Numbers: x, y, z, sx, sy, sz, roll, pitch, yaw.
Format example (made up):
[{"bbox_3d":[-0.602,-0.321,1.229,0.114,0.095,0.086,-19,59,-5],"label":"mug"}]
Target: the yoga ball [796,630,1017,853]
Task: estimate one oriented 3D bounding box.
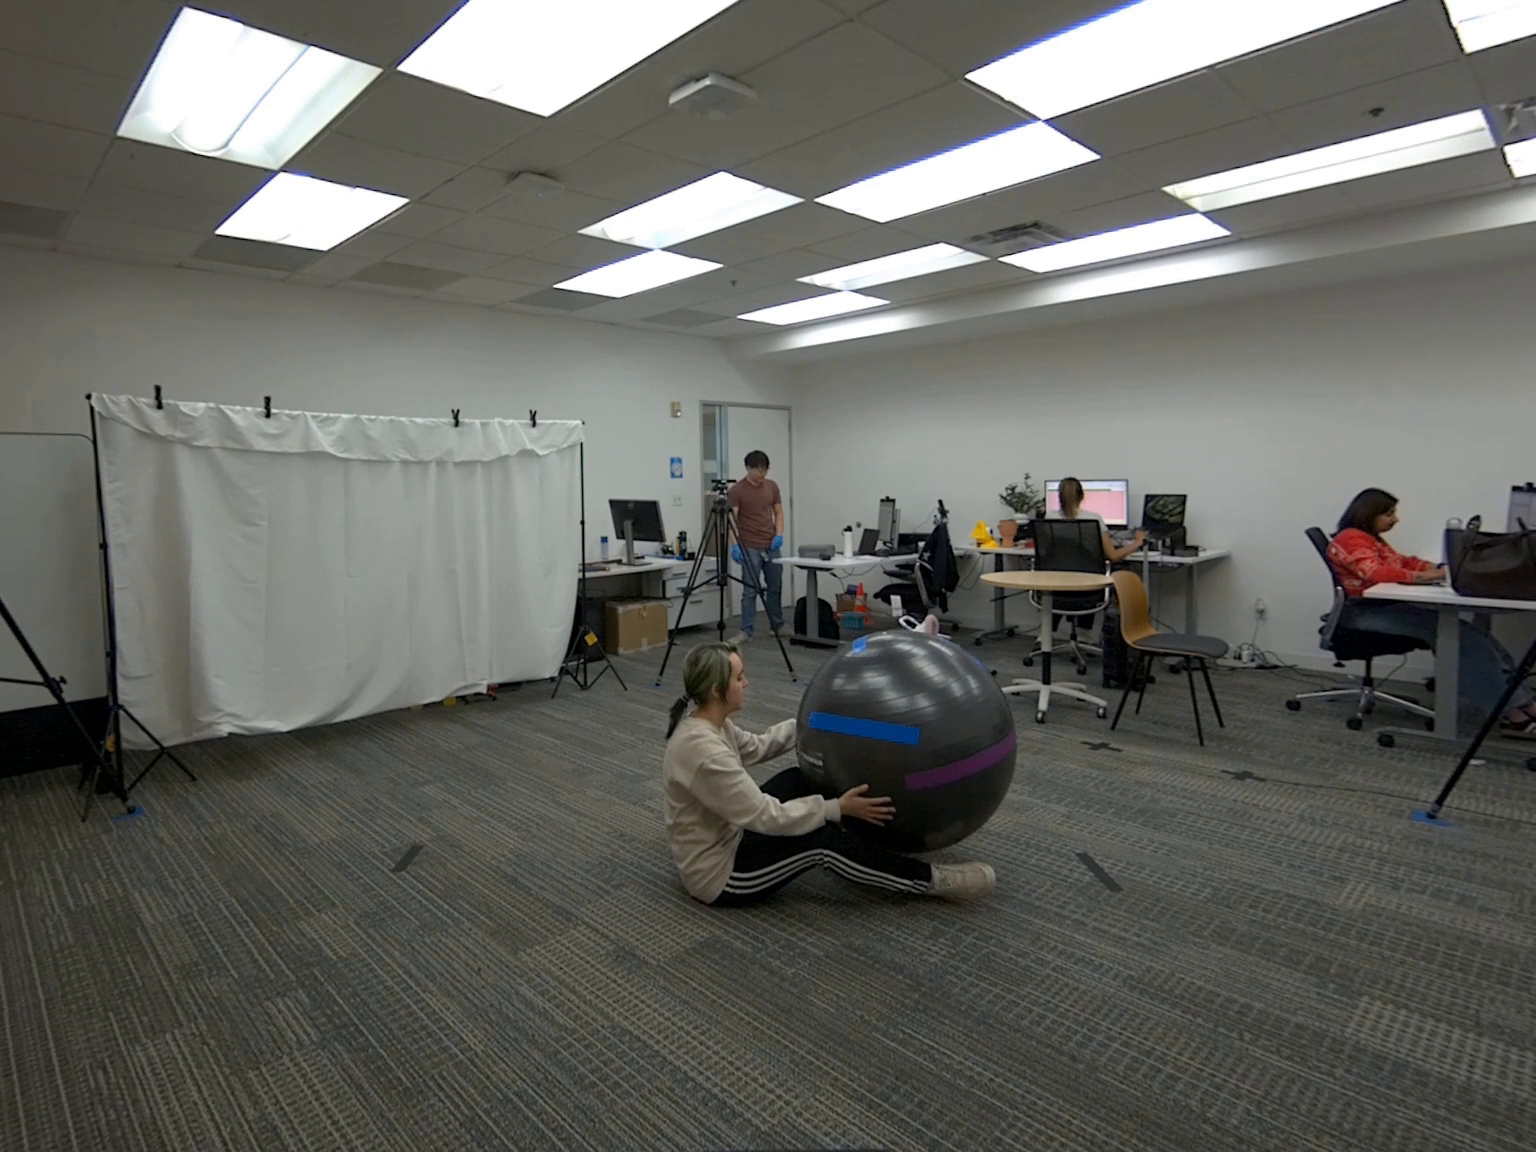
[{"bbox_3d":[0.501,0.577,2.999,0.757,0.755,0.762,-1,5,-2],"label":"yoga ball"}]
